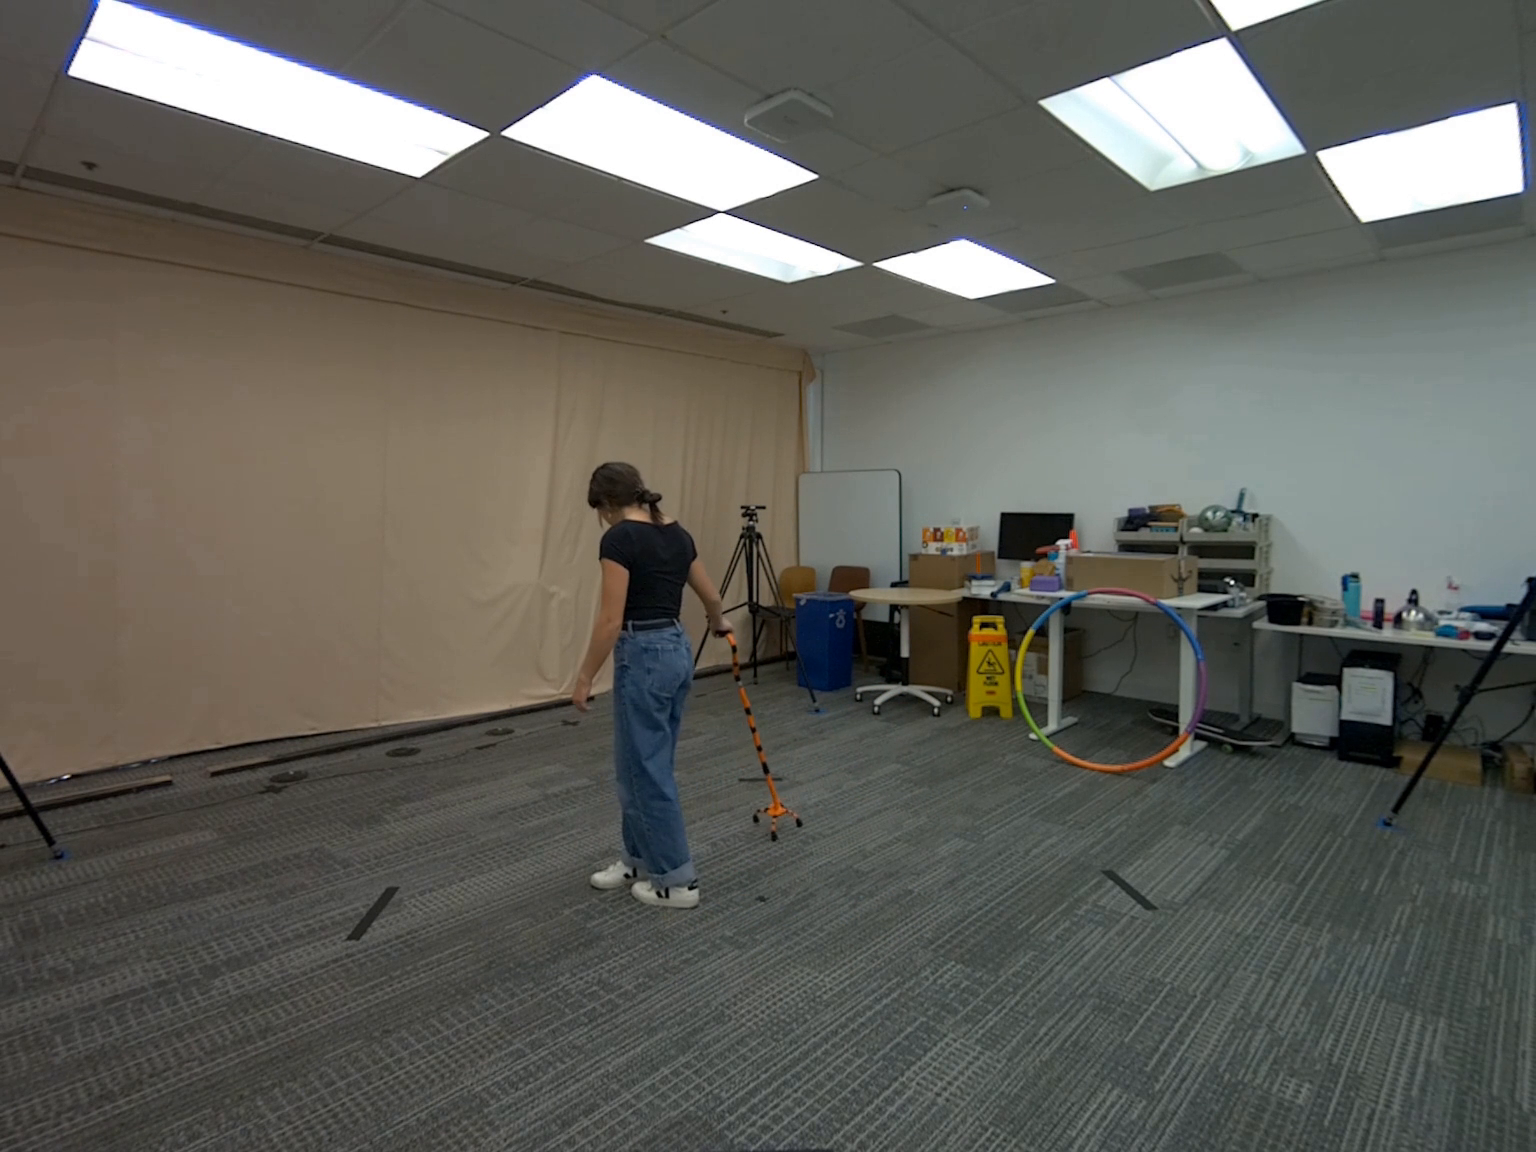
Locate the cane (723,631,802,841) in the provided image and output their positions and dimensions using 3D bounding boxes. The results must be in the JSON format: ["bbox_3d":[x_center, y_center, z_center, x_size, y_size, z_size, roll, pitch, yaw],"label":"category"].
[{"bbox_3d":[-0.077,0.643,3.495,0.149,0.897,0.212,-21,14,-23],"label":"cane"}]
